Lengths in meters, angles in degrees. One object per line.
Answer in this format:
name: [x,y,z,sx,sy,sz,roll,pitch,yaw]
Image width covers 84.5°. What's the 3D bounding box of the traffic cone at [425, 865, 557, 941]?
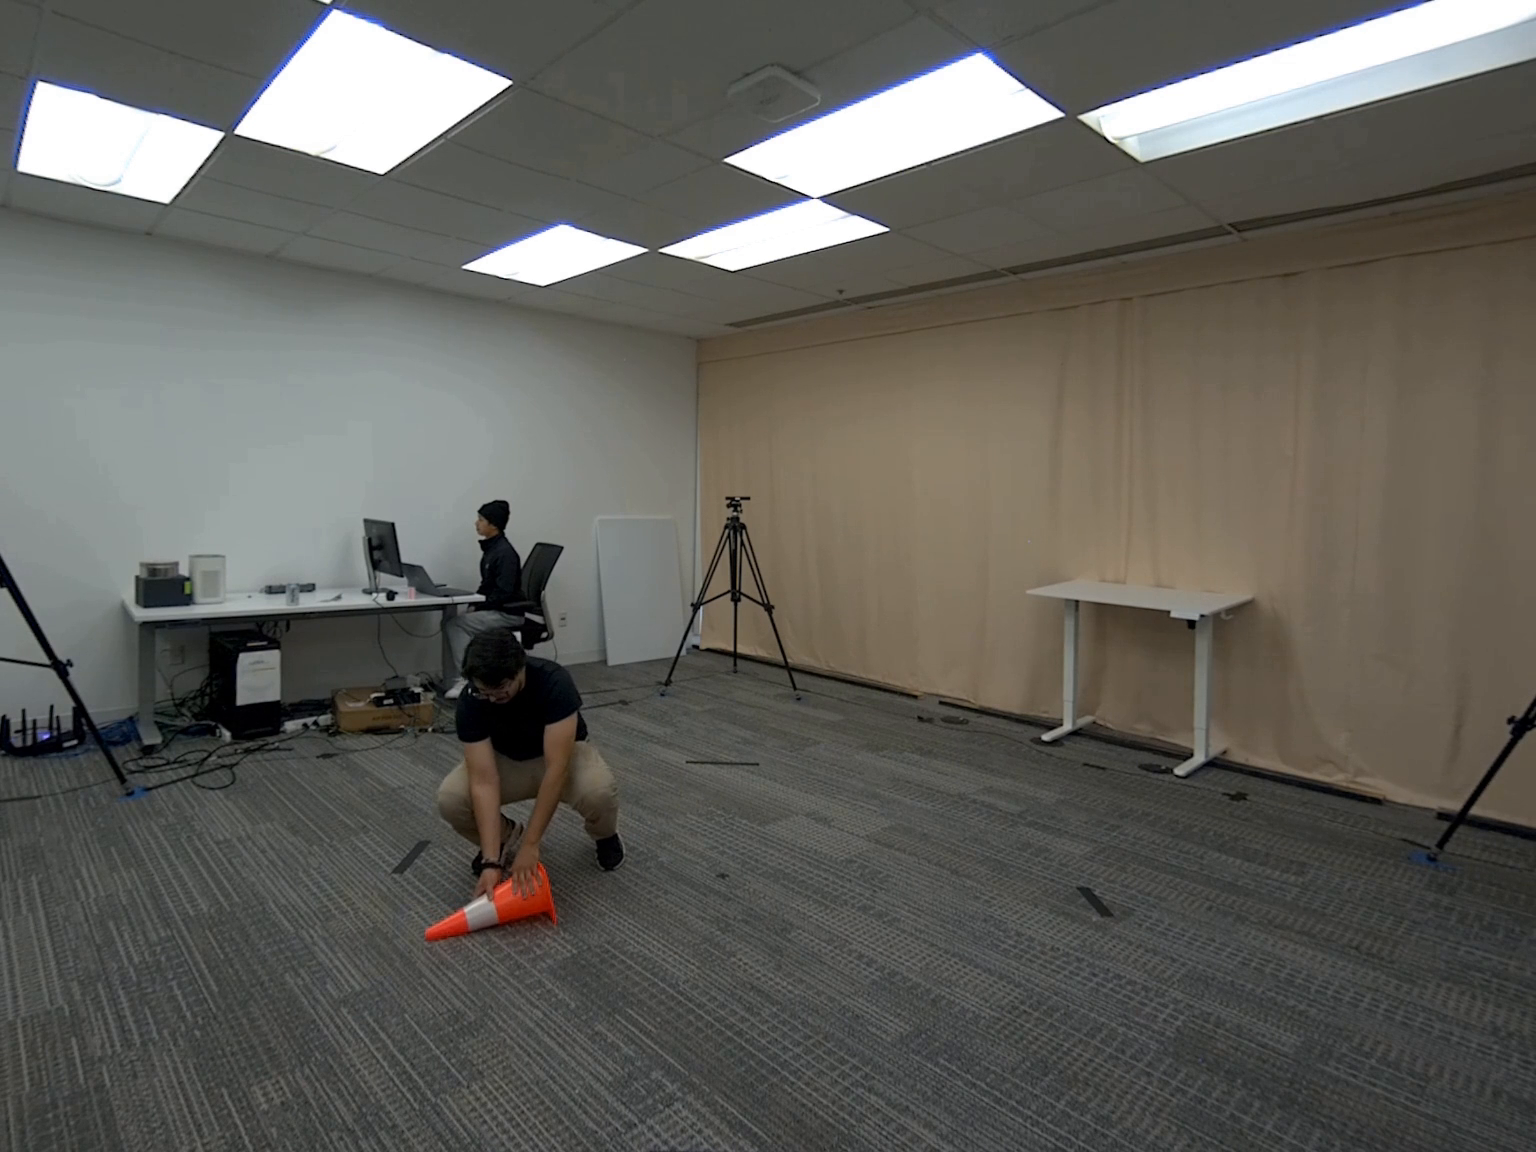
traffic cone: [-0.917,1.098,2.703,0.378,0.204,0.207,-16,5,-27]
